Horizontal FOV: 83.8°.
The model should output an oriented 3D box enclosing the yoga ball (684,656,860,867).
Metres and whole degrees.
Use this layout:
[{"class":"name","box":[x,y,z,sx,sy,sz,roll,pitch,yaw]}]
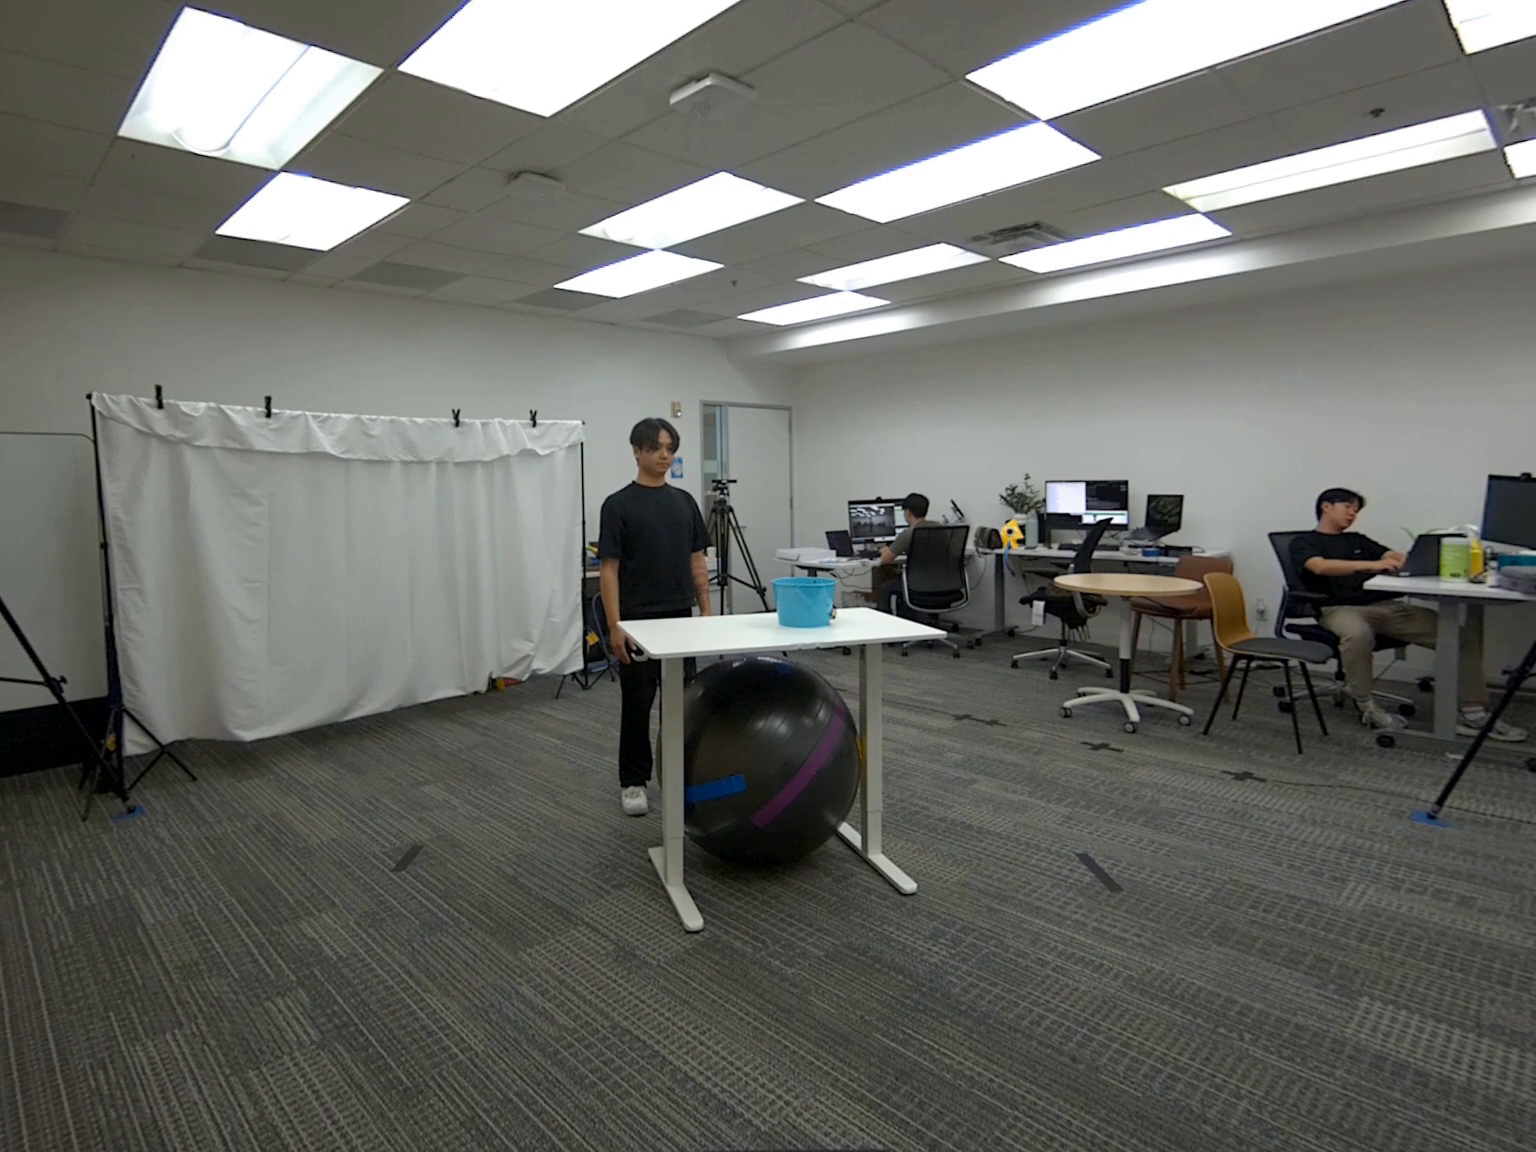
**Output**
[{"class":"yoga ball","box":[-0.033,0.680,3.163,0.757,0.755,0.762,-1,5,-2]}]
